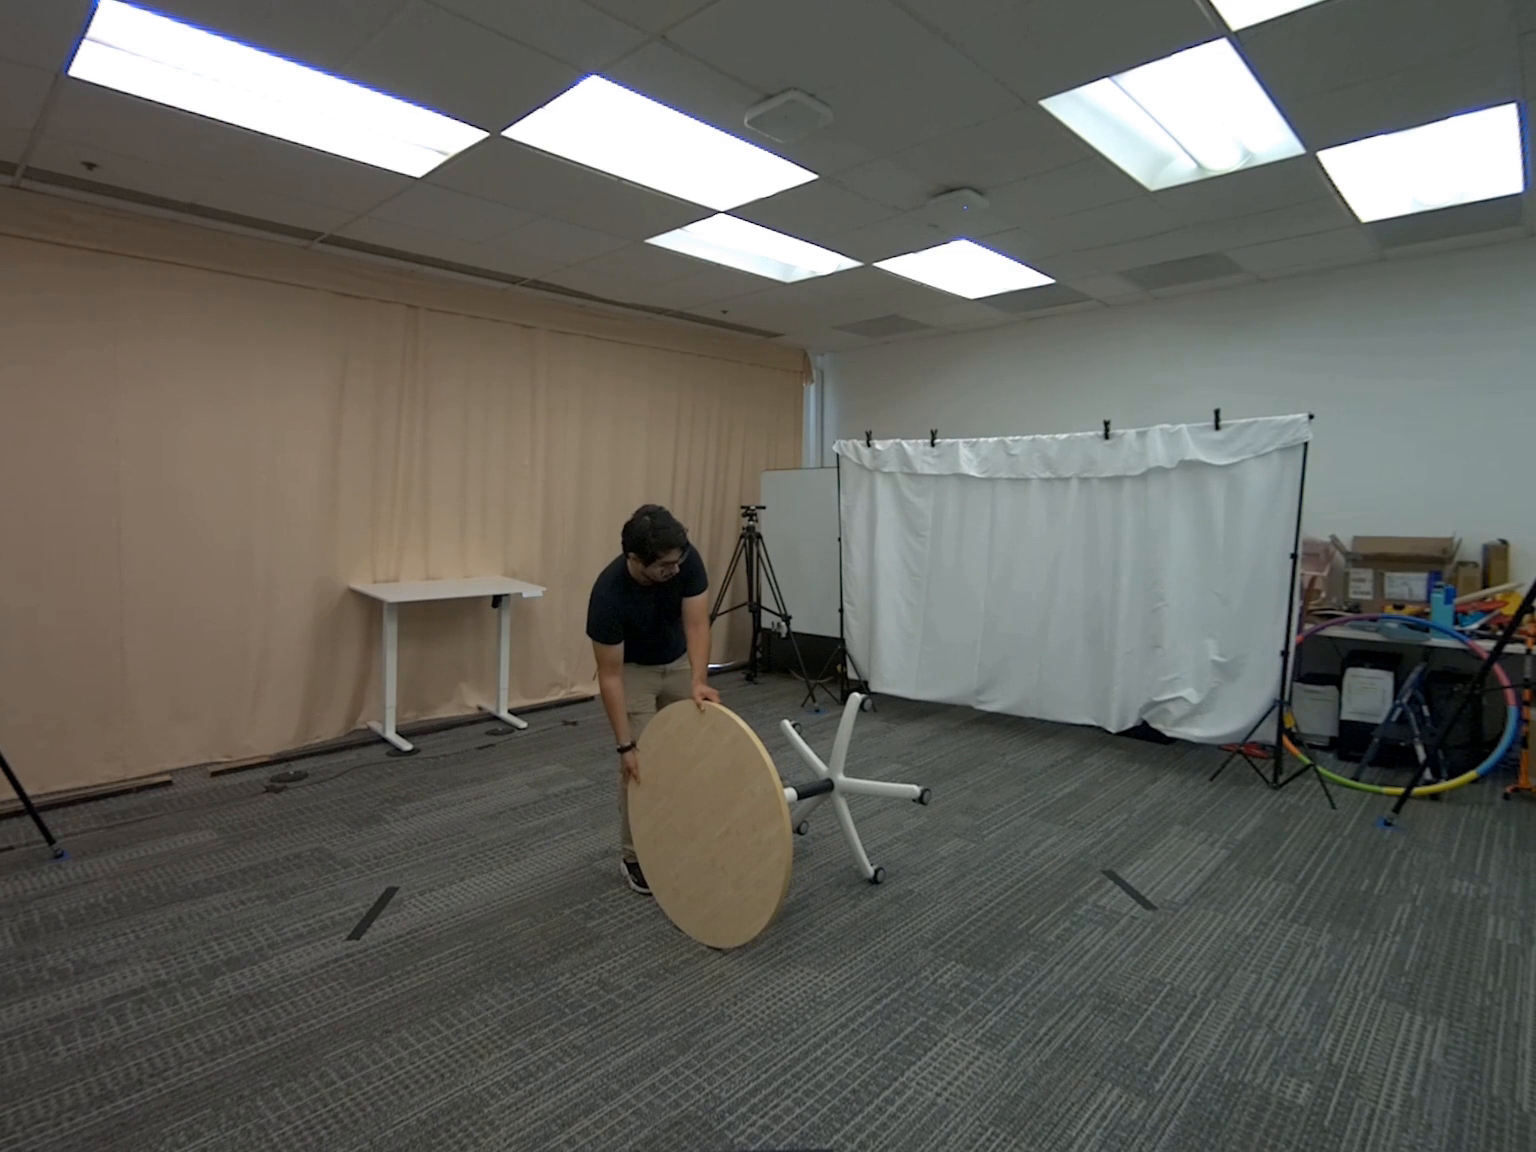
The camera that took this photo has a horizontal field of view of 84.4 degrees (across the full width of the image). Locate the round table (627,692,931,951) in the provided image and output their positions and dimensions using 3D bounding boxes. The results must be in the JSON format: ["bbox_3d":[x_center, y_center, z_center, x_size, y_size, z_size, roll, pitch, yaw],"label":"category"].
[{"bbox_3d":[0.061,0.774,2.958,0.761,0.784,0.811,0,3,-44],"label":"round table"}]
